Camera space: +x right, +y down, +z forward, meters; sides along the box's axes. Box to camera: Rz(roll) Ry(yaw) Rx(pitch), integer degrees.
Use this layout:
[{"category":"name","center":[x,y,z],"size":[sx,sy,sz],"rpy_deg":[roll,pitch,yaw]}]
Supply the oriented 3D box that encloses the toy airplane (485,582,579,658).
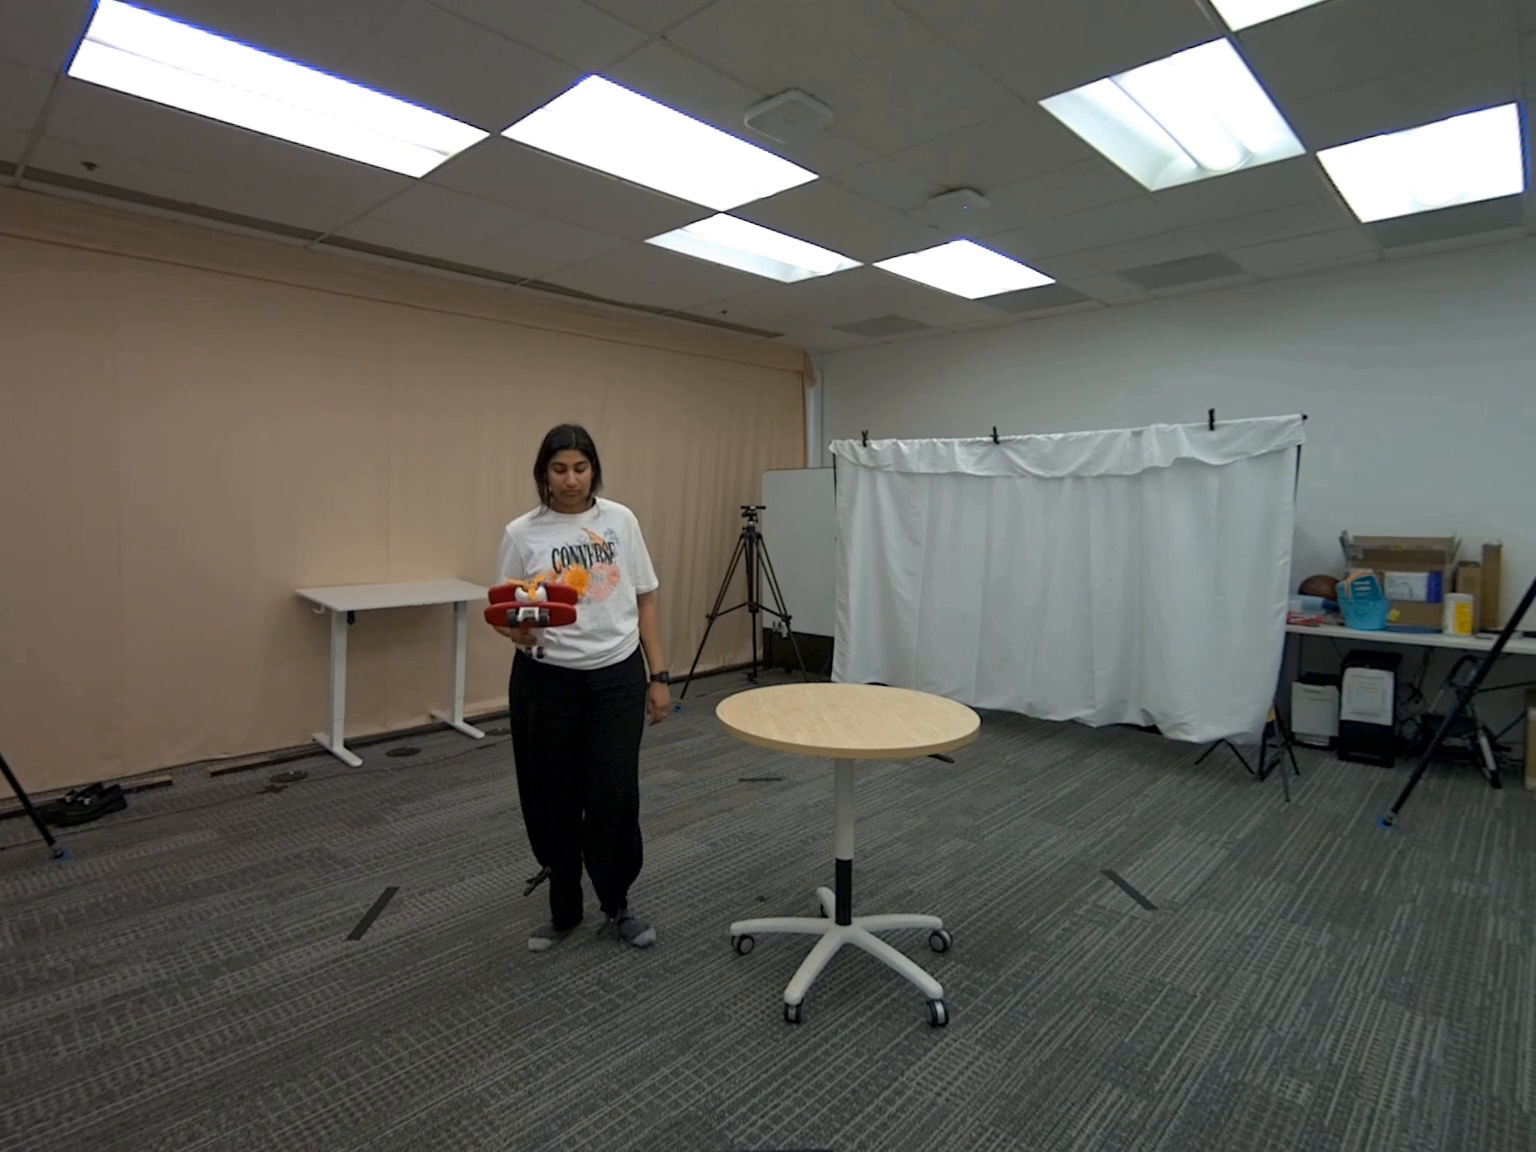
[{"category":"toy airplane","center":[-0.686,0.119,2.419],"size":[0.243,0.160,0.262],"rpy_deg":[17,-41,-29]}]
